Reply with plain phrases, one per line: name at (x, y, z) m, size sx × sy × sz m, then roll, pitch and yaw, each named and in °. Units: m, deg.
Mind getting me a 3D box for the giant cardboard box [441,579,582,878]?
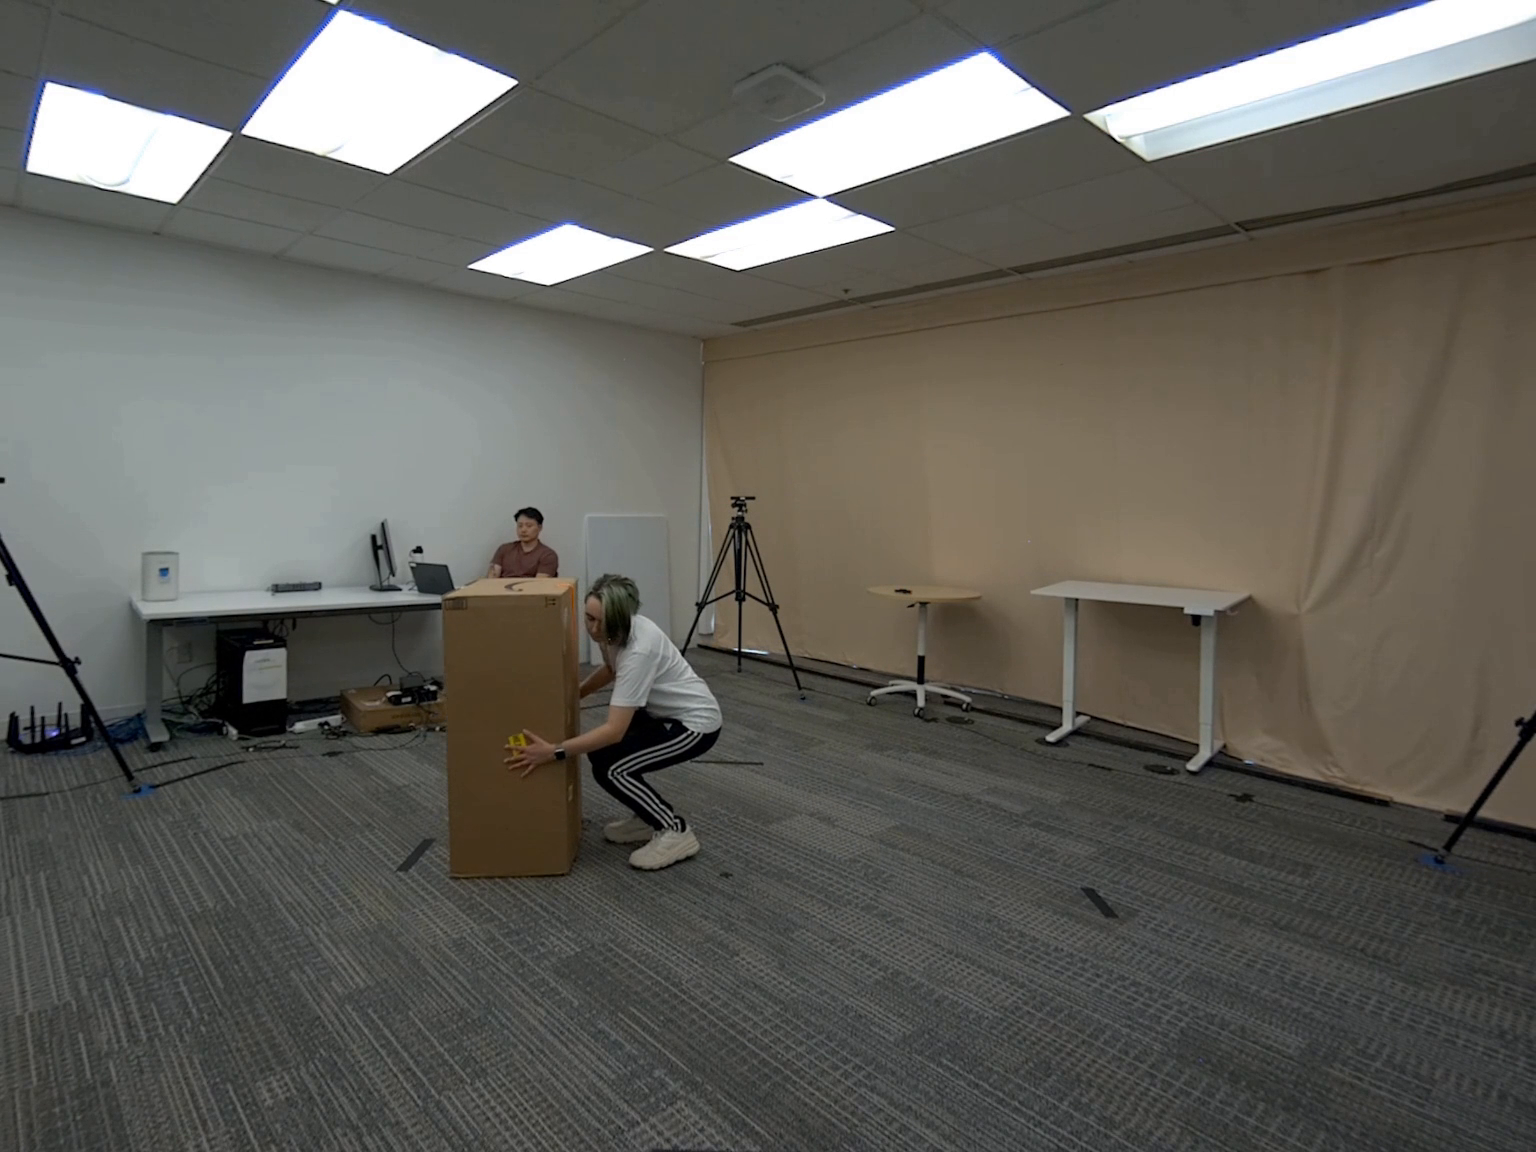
giant cardboard box at (-0.982, 0.545, 3.297) m, size 0.445 × 1.024 × 0.588 m, roll -1°, pitch 4°, yaw -7°
